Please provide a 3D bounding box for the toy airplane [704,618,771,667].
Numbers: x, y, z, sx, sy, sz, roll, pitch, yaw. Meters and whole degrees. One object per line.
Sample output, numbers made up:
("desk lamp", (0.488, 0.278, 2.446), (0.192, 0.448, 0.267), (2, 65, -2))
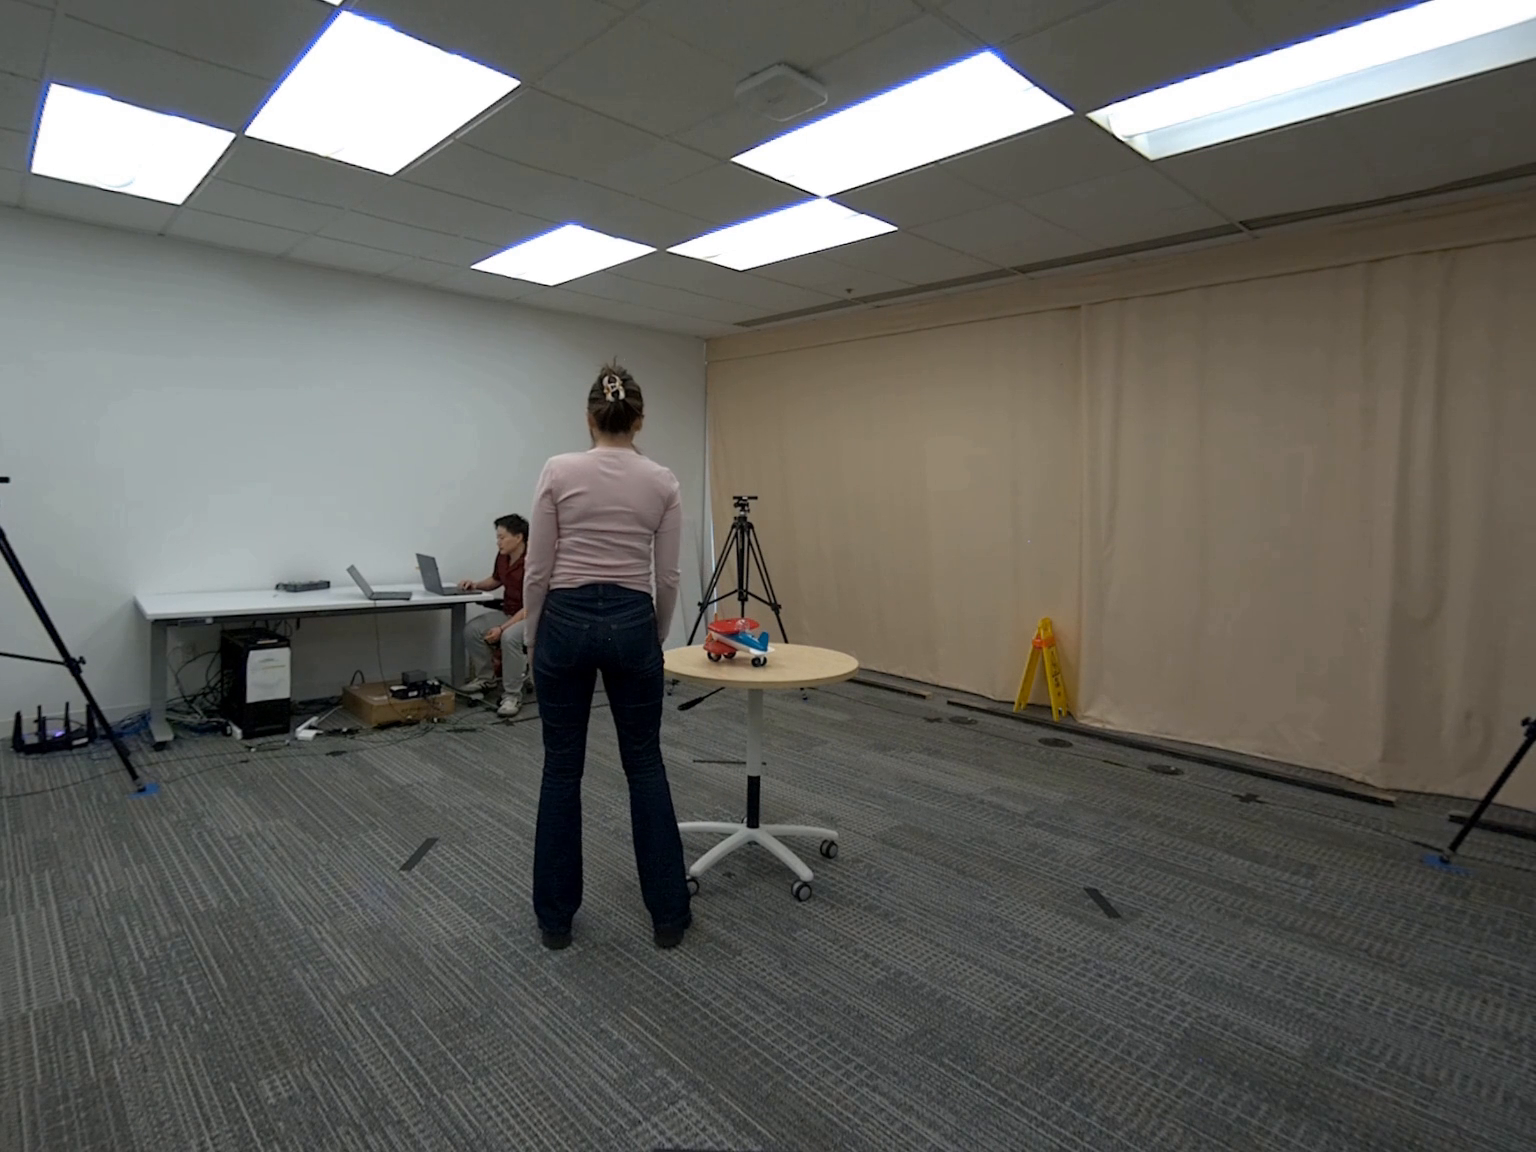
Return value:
("toy airplane", (-0.099, 0.242, 3.120), (0.261, 0.156, 0.249), (1, 4, 10))
